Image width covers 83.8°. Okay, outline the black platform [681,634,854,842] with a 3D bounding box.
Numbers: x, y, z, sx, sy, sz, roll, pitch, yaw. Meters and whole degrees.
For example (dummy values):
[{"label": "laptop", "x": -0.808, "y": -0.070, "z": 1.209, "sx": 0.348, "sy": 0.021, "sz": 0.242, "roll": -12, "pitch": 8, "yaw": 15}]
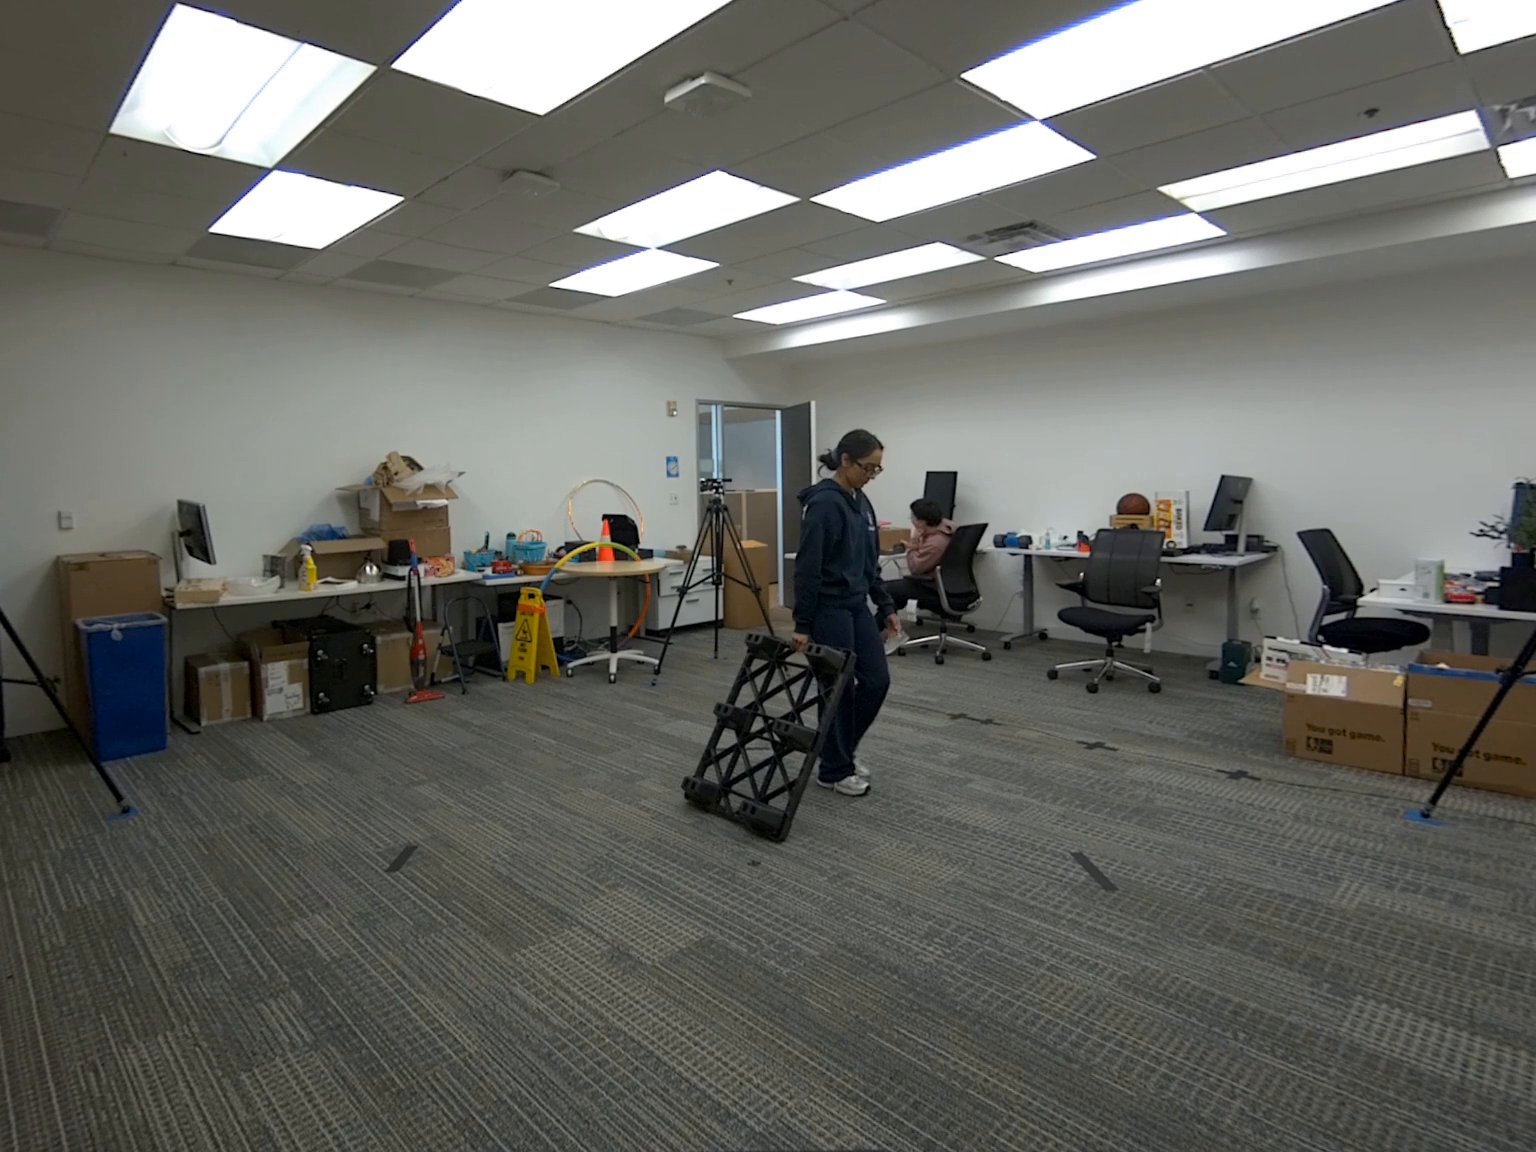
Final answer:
[{"label": "black platform", "x": -0.022, "y": 0.624, "z": 3.582, "sx": 0.623, "sy": 0.811, "sz": 0.138, "roll": 4, "pitch": -26, "yaw": 48}]
